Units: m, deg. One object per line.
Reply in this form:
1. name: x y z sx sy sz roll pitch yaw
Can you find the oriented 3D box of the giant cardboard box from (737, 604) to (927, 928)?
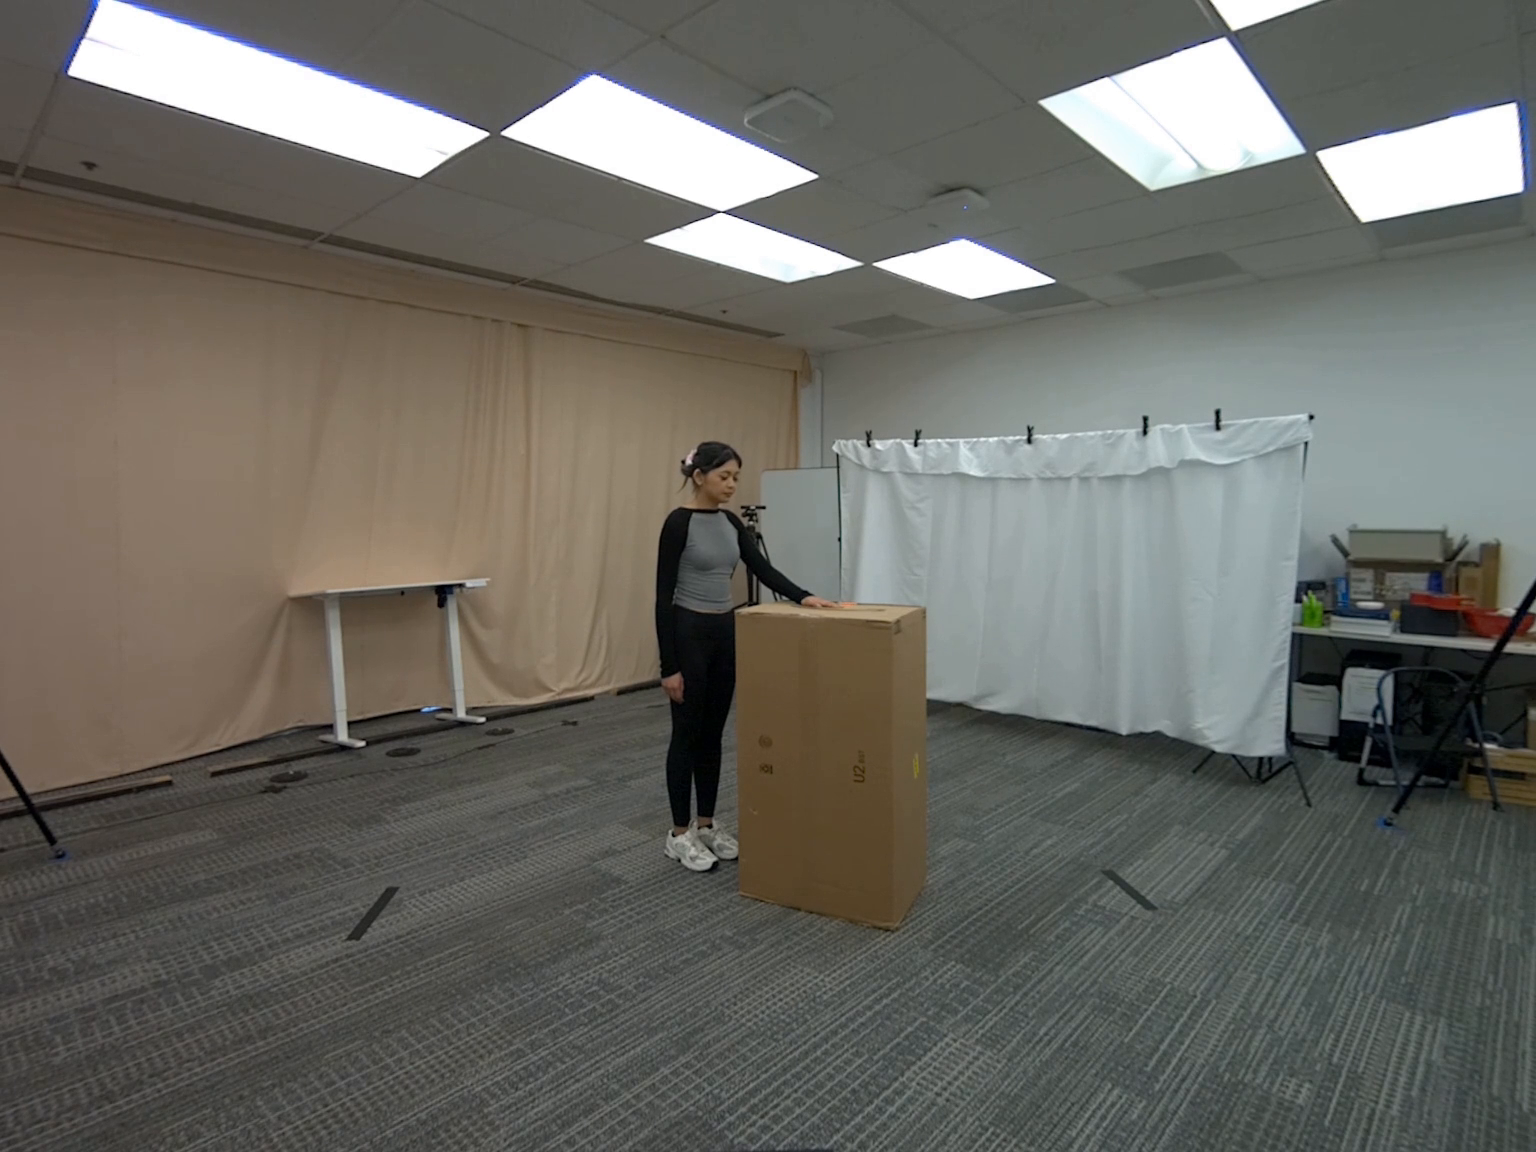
1. giant cardboard box: 0.244 0.632 3.039 0.599 1.024 0.436 1 4 26
